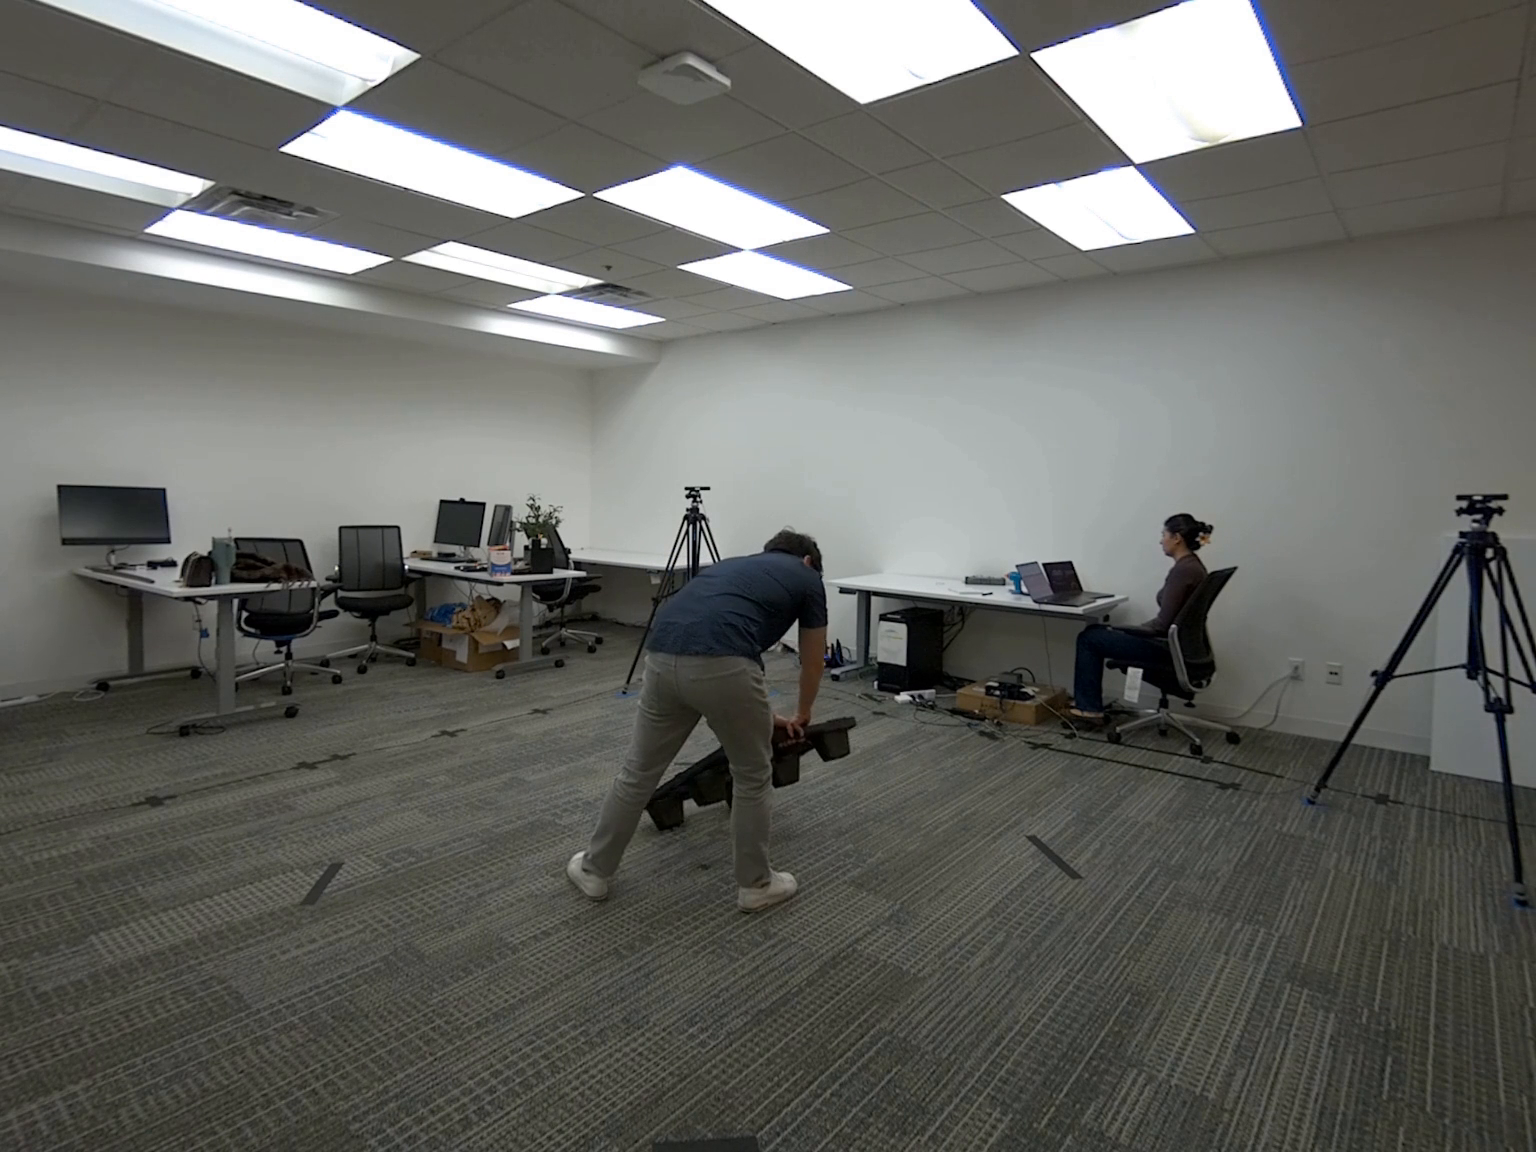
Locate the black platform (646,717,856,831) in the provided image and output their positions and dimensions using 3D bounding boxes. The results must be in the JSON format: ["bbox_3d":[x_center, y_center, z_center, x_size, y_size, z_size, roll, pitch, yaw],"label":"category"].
[{"bbox_3d":[-0.093,0.787,3.346,0.587,0.147,0.808,-3,-27,-38],"label":"black platform"}]
